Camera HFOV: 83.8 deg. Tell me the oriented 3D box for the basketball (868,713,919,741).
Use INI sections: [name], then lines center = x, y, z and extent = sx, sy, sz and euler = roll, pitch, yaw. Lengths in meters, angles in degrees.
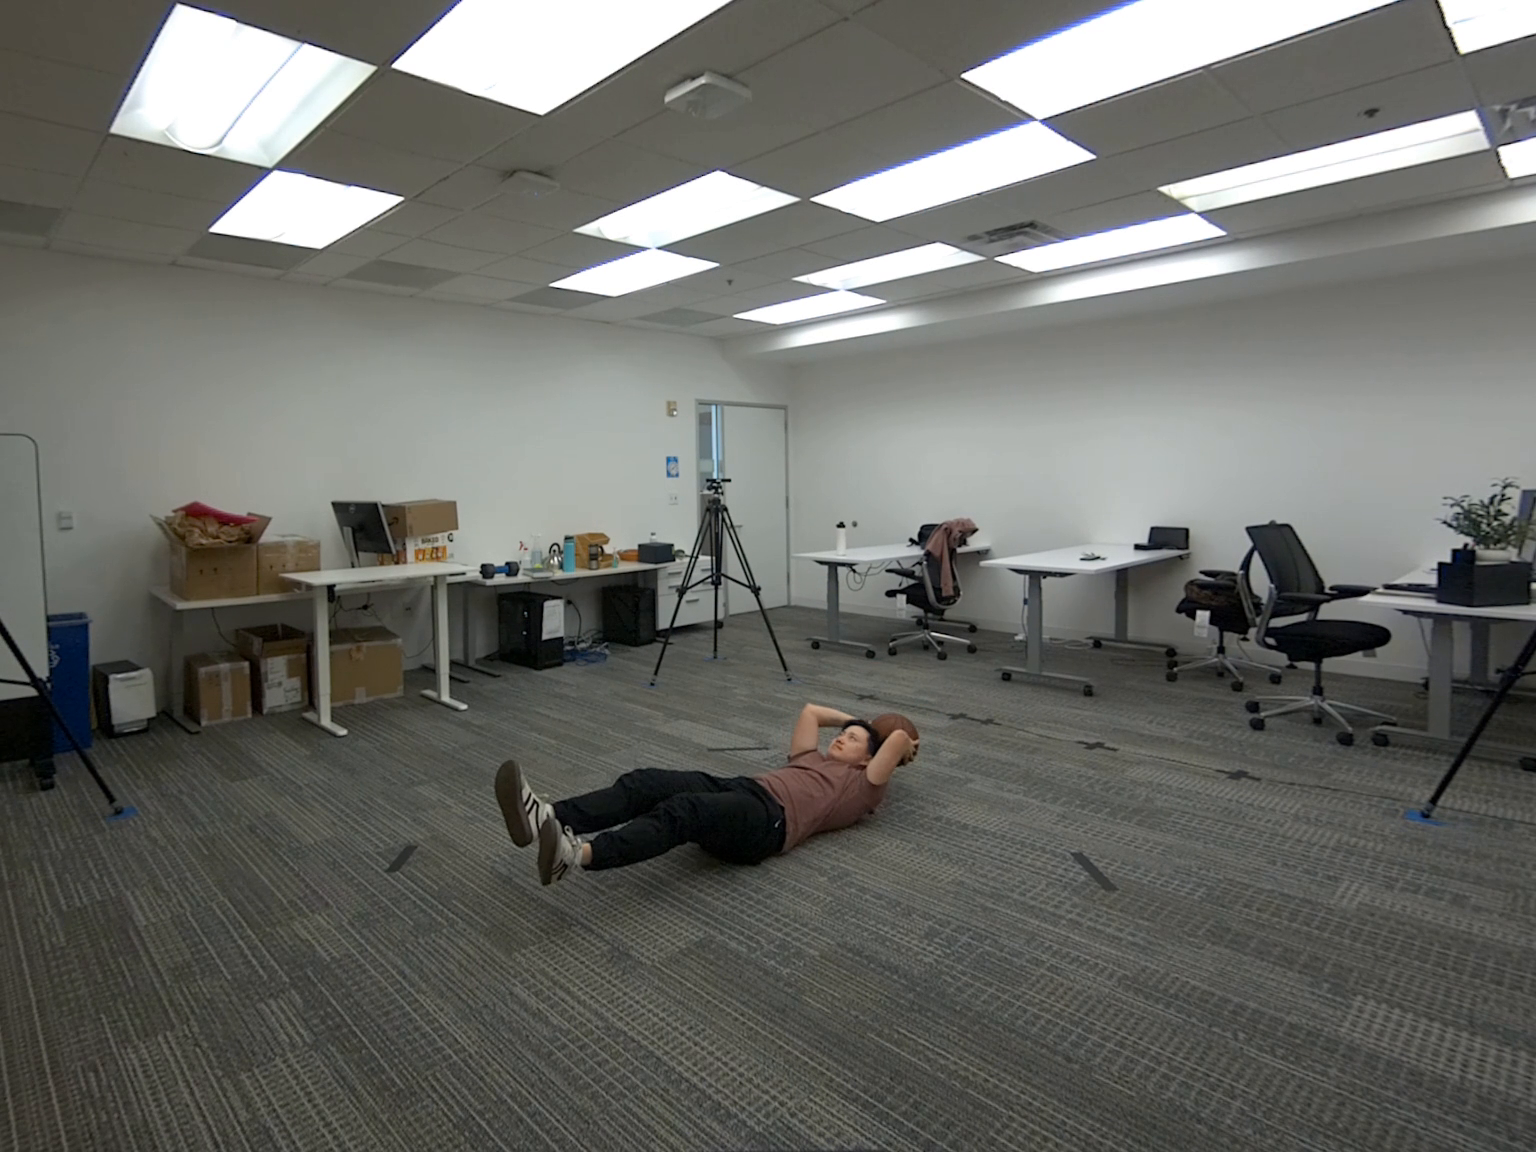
[basketball]
center = 0.558, 0.729, 3.819
extent = 0.236, 0.235, 0.237
euler = -2, 5, -2
